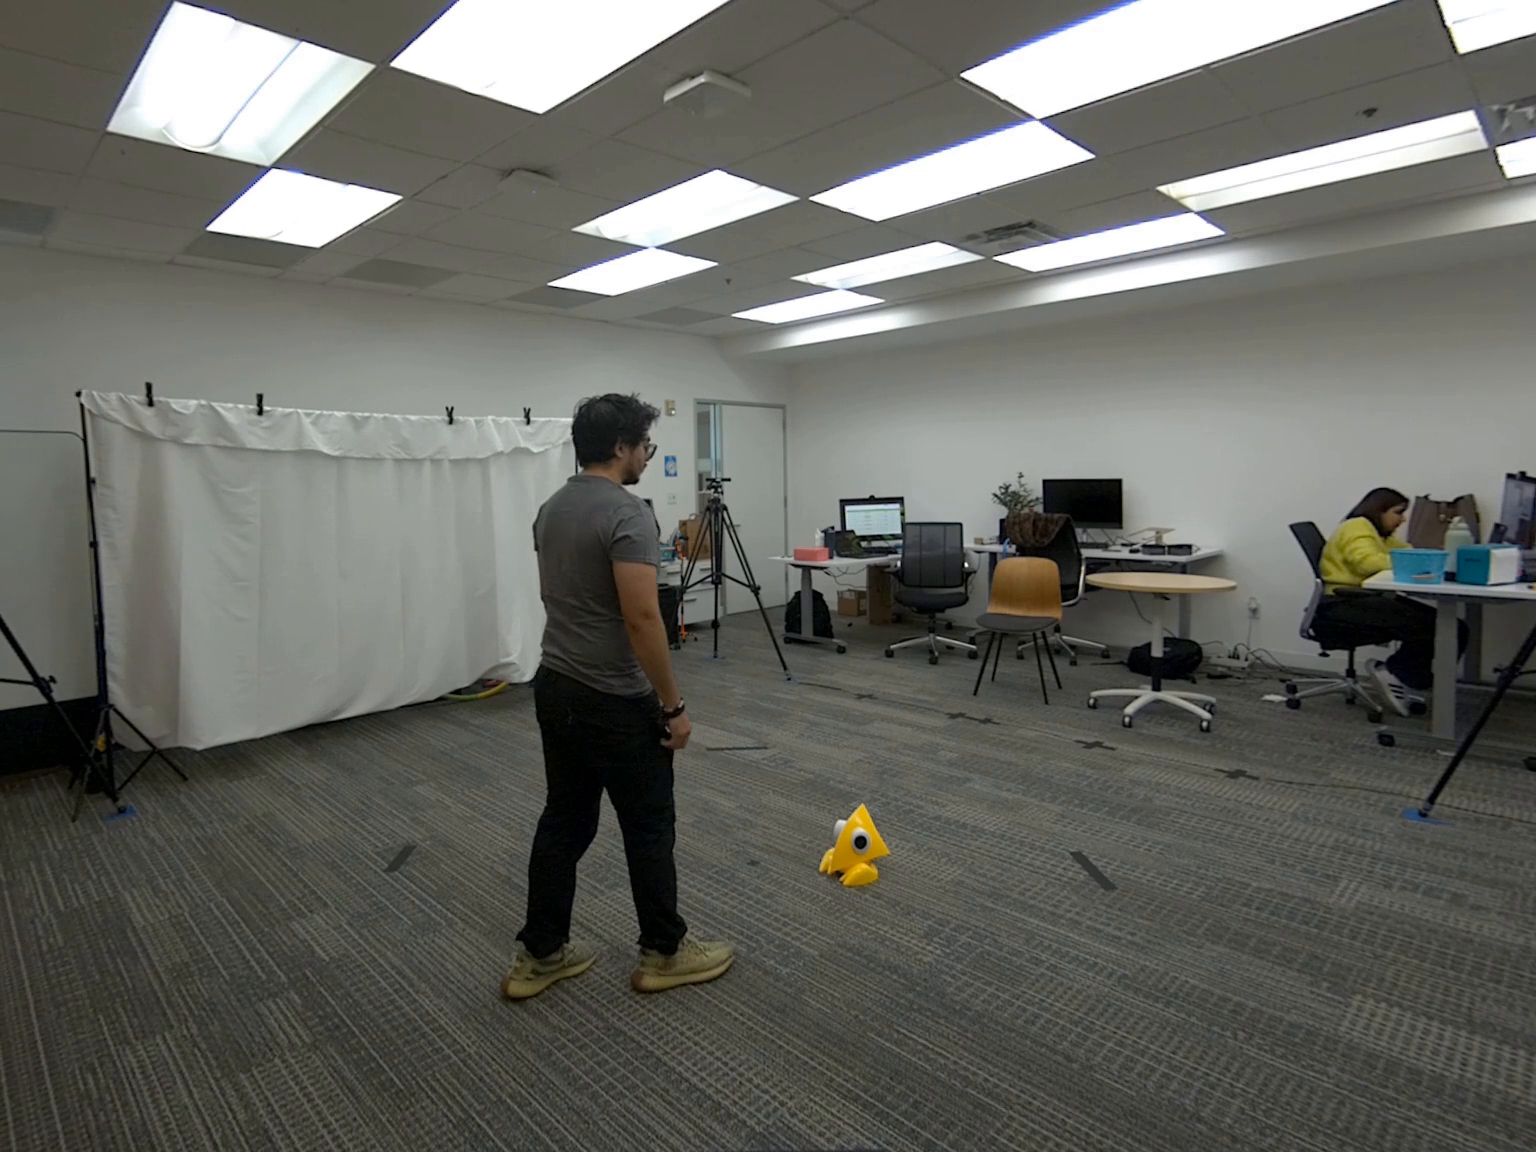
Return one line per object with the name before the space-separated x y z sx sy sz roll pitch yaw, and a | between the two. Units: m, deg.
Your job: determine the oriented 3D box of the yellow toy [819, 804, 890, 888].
yellow toy | 0.297 0.935 3.019 0.188 0.230 0.211 -6 6 -35
